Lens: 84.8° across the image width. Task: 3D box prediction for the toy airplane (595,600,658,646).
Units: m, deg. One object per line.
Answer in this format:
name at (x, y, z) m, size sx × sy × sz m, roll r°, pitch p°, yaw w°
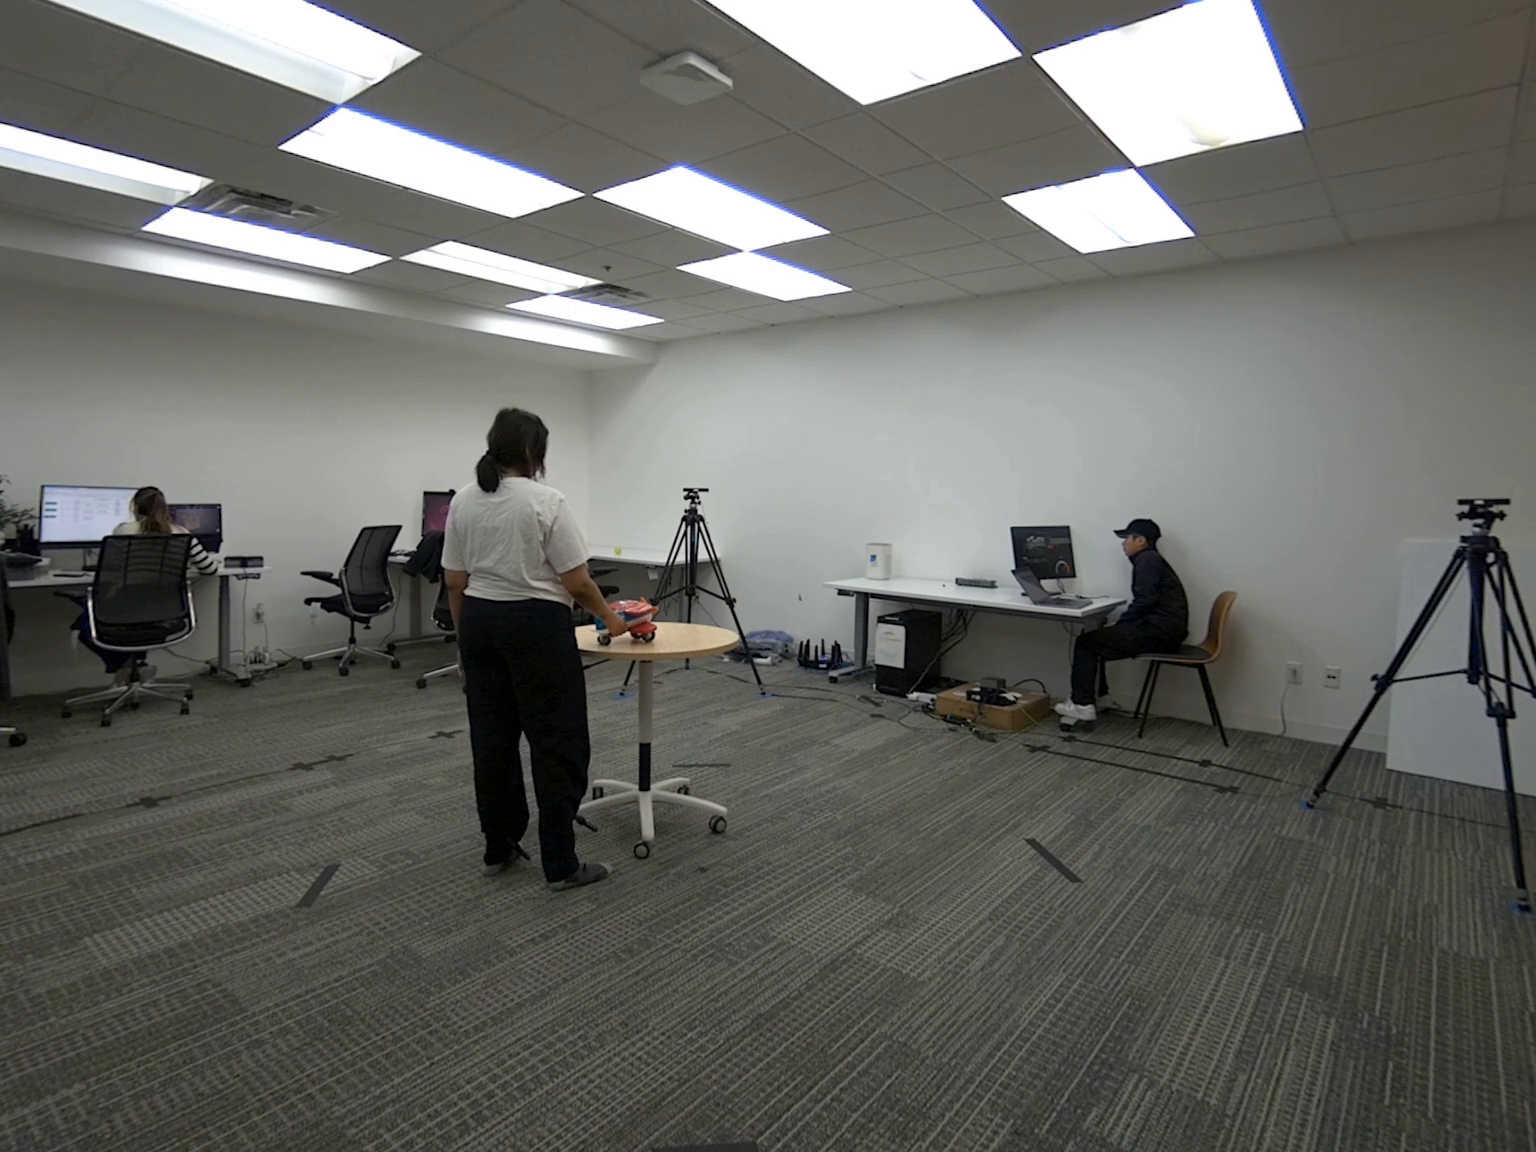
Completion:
toy airplane at (-0.558, 0.184, 3.333) m, size 0.257 × 0.156 × 0.254 m, roll 3°, pitch 5°, yaw 23°
